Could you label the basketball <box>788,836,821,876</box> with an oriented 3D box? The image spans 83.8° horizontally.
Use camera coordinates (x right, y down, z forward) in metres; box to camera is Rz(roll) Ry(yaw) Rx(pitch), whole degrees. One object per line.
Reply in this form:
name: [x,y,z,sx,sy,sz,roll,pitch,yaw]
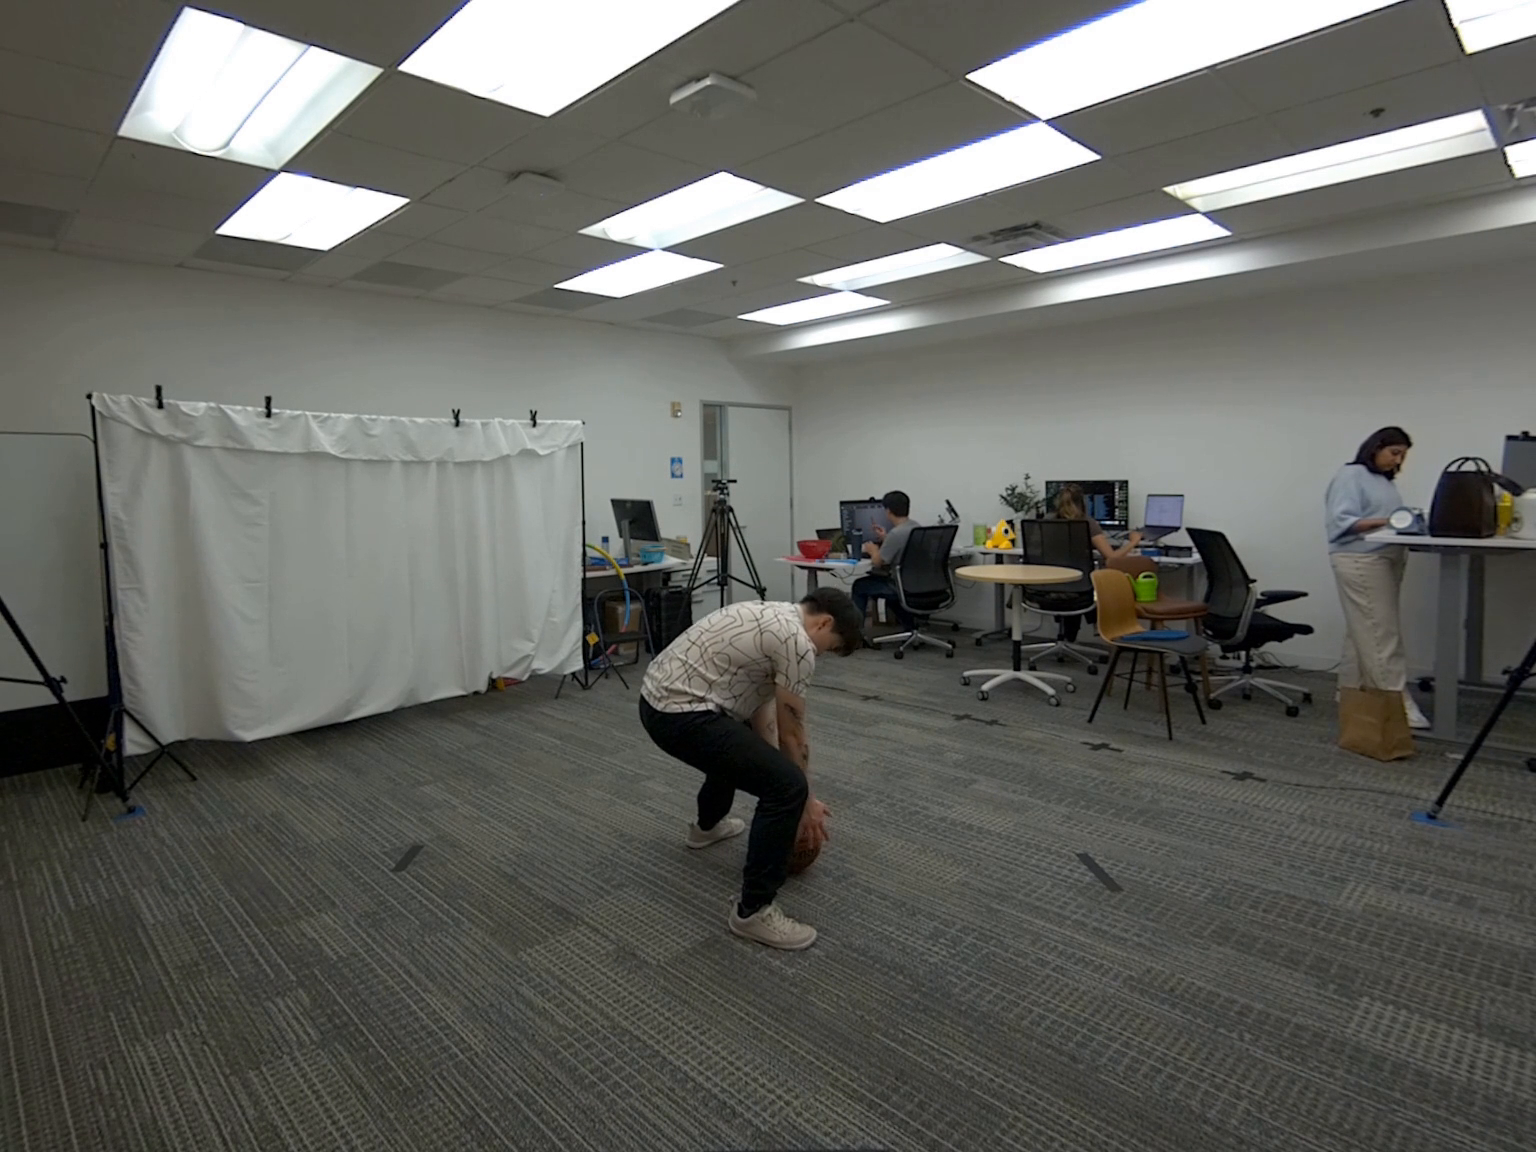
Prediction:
basketball: [0.083,0.928,3.057,0.236,0.235,0.237,-1,5,-2]
